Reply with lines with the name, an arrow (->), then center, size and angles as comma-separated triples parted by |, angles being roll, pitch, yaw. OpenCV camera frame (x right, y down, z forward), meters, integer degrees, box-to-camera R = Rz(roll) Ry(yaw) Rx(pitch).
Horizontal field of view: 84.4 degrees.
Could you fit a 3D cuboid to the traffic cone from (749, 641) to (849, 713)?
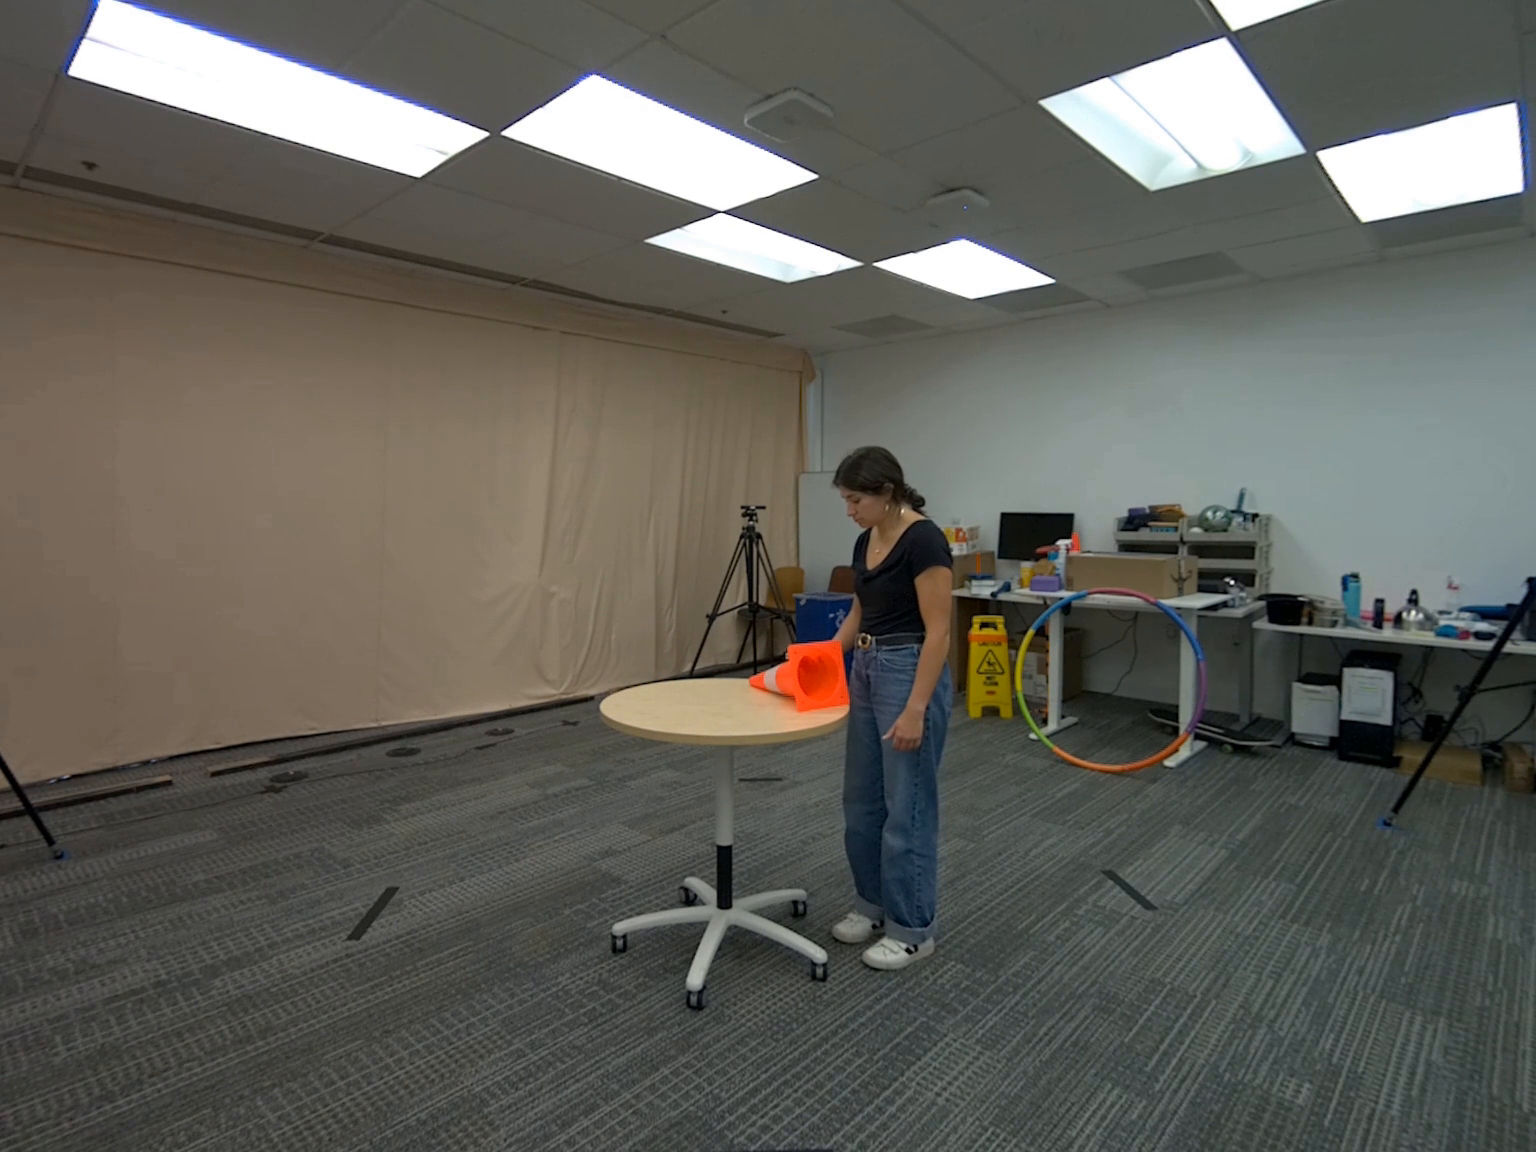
traffic cone -> 0.064, 0.335, 2.709 | 0.198, 0.206, 0.392 | -4, -7, -34
